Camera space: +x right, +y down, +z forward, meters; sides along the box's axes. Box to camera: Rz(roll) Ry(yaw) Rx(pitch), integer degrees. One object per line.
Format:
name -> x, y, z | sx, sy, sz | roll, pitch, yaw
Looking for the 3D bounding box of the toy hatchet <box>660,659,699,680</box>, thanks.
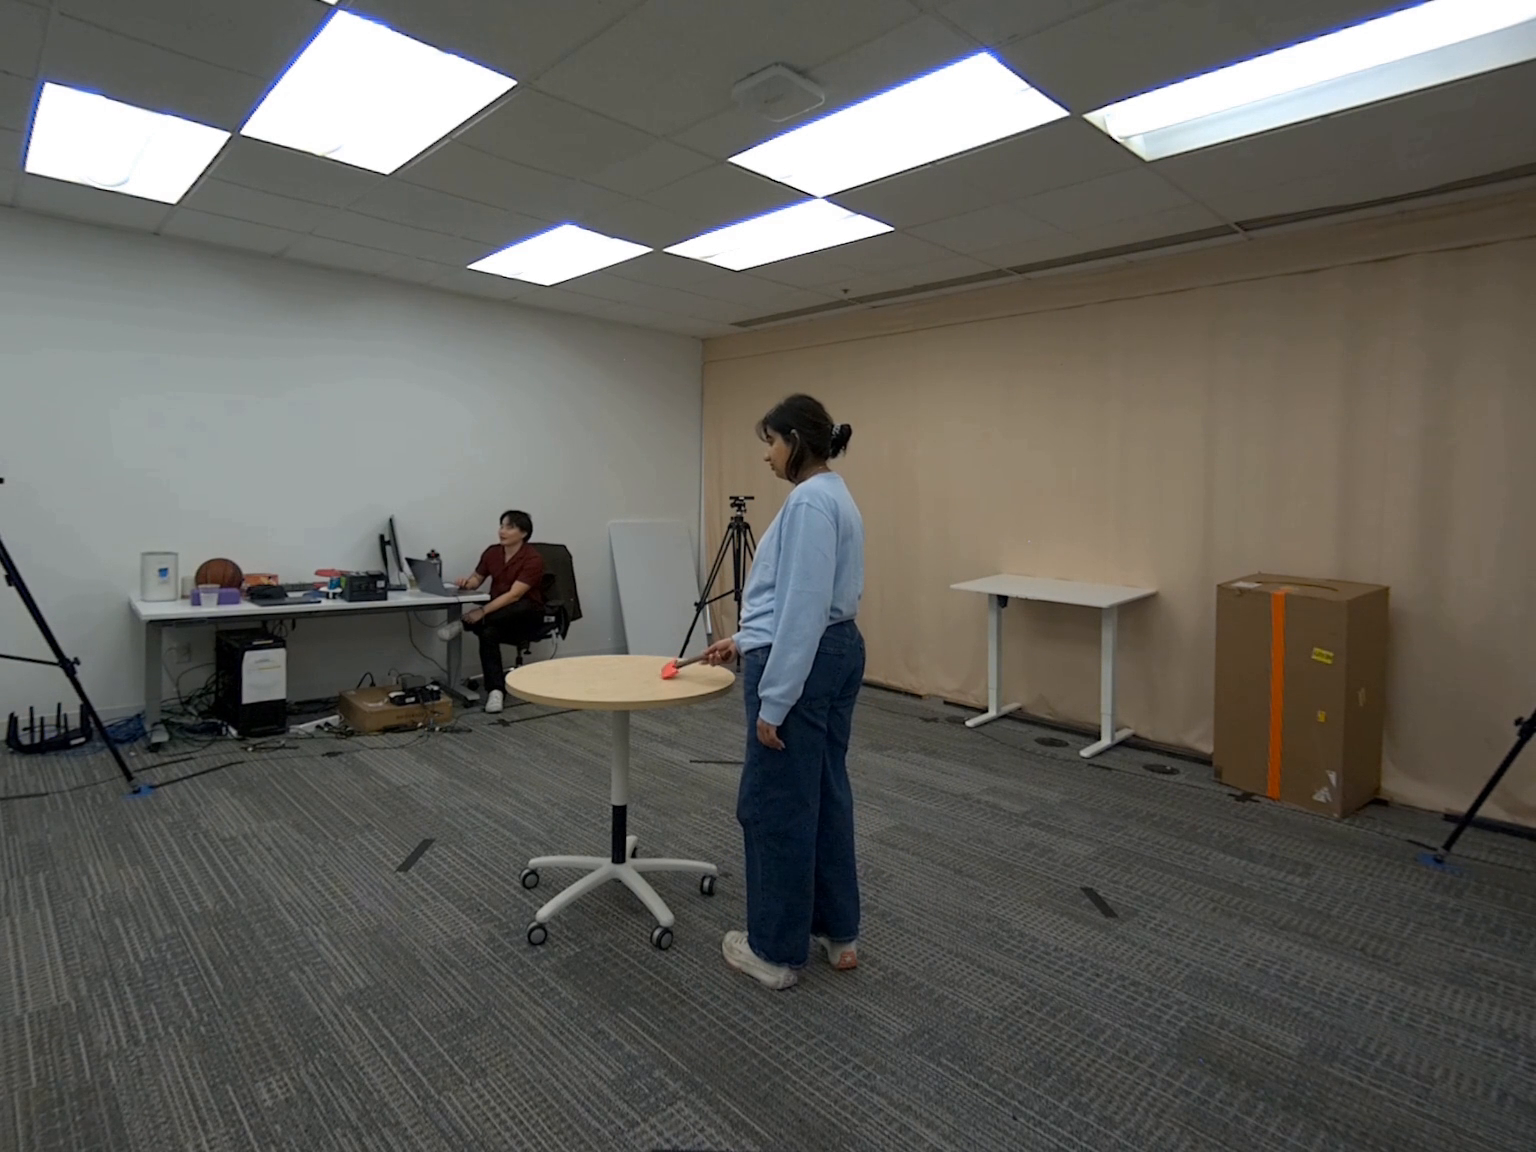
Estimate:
toy hatchet -> -0.258, 0.300, 2.777 | 0.275, 0.029, 0.130 | -12, 15, 39
